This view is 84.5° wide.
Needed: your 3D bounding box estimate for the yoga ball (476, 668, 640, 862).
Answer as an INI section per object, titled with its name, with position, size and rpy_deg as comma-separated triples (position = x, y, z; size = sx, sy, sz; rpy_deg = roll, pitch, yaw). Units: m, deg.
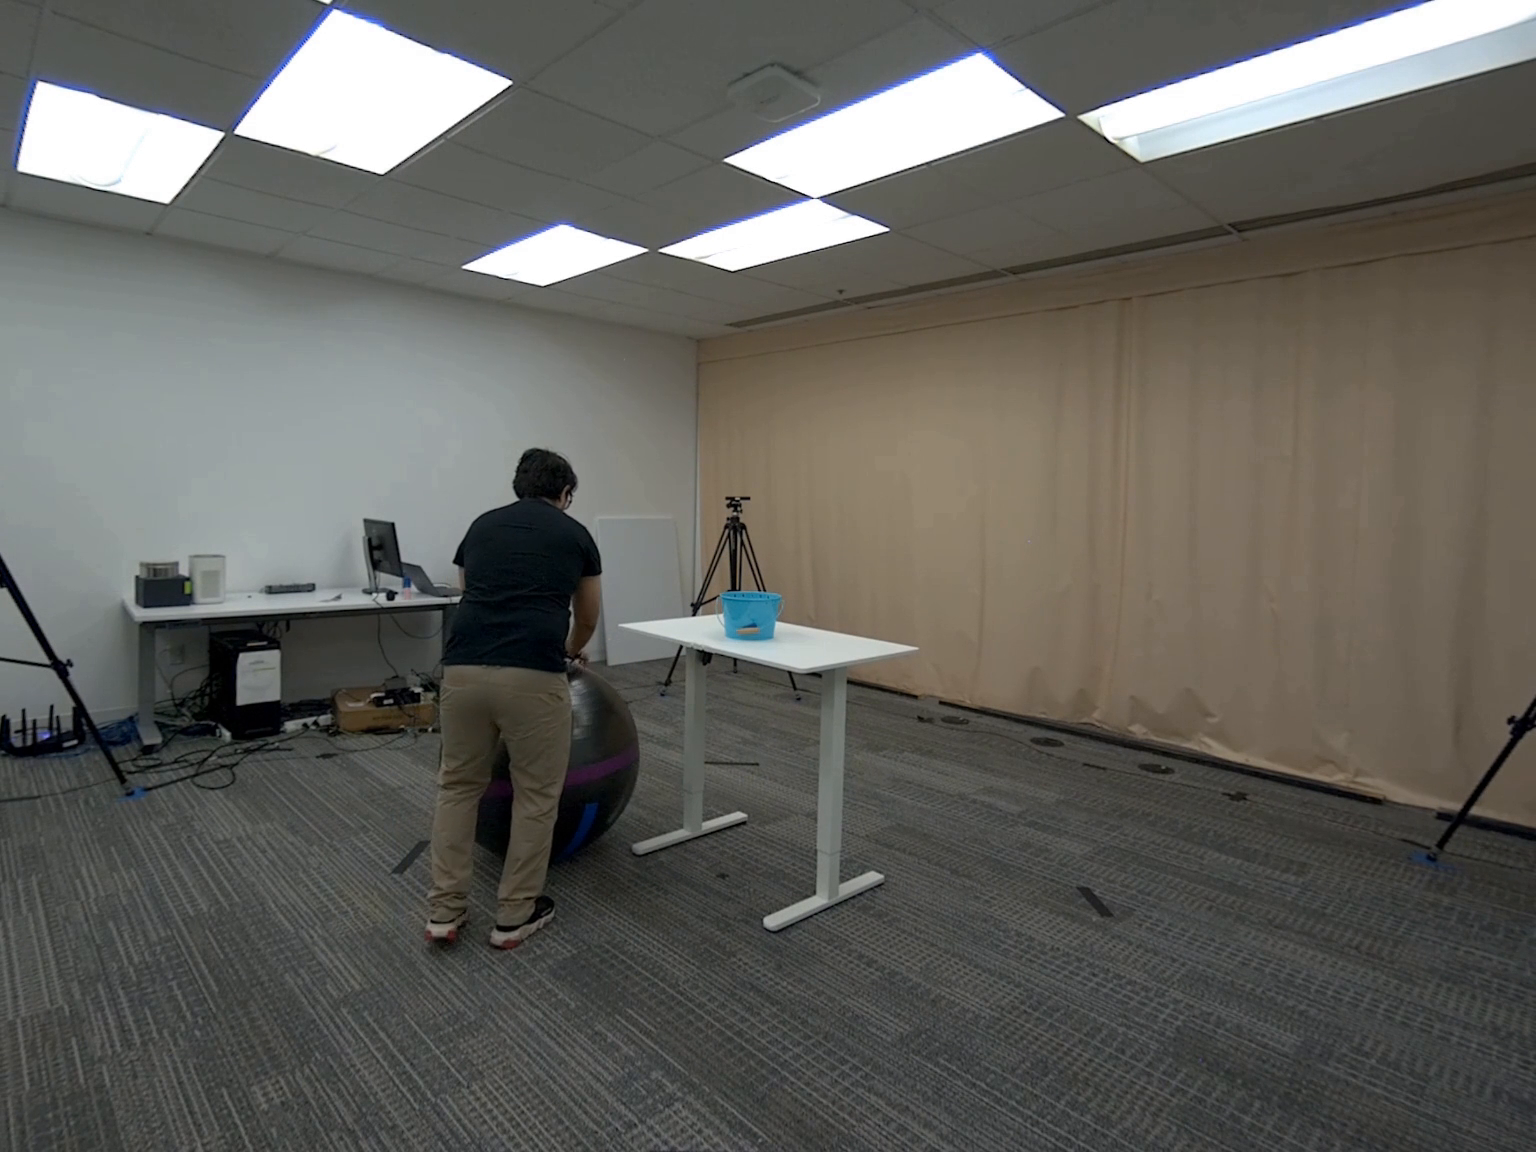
[yoga ball]
position = -0.895, 0.714, 3.272
size = 0.757, 0.756, 0.761
rpy_deg = 1, 4, -1
